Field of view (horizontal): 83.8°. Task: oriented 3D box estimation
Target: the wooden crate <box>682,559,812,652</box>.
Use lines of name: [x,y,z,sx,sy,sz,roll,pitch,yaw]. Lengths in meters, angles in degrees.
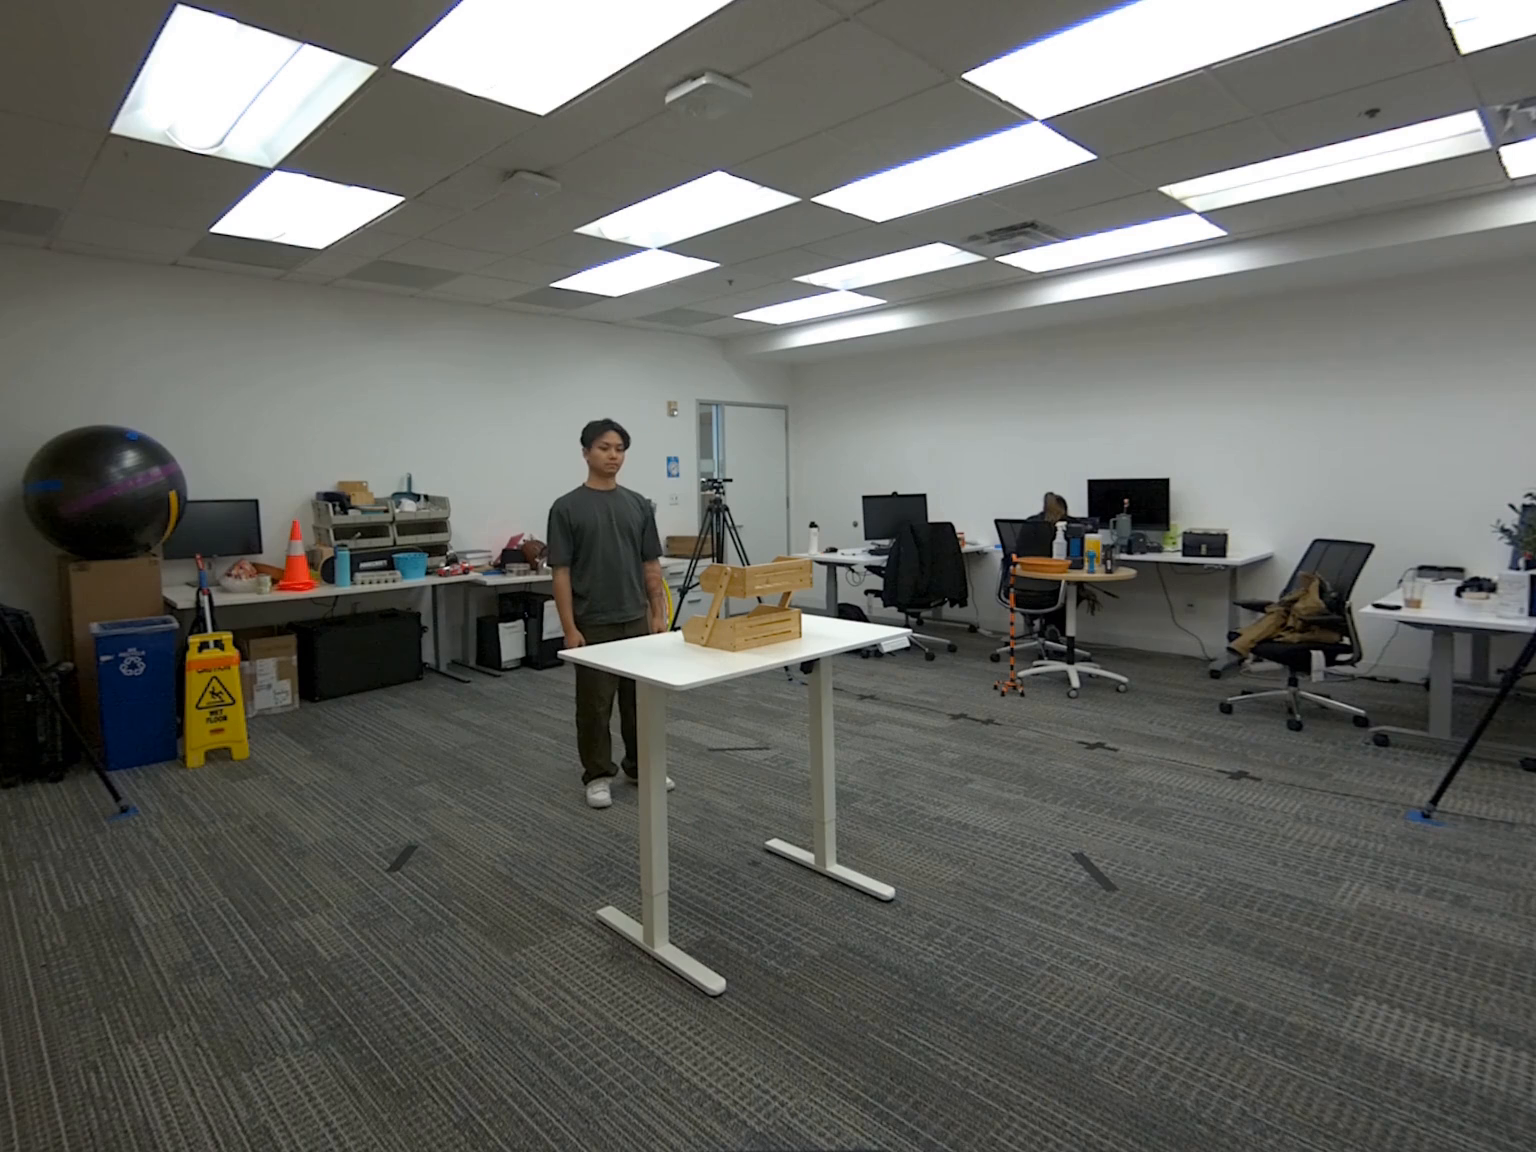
wooden crate: [-0.064,0.074,2.720,0.316,0.272,0.311,-7,9,-43]
